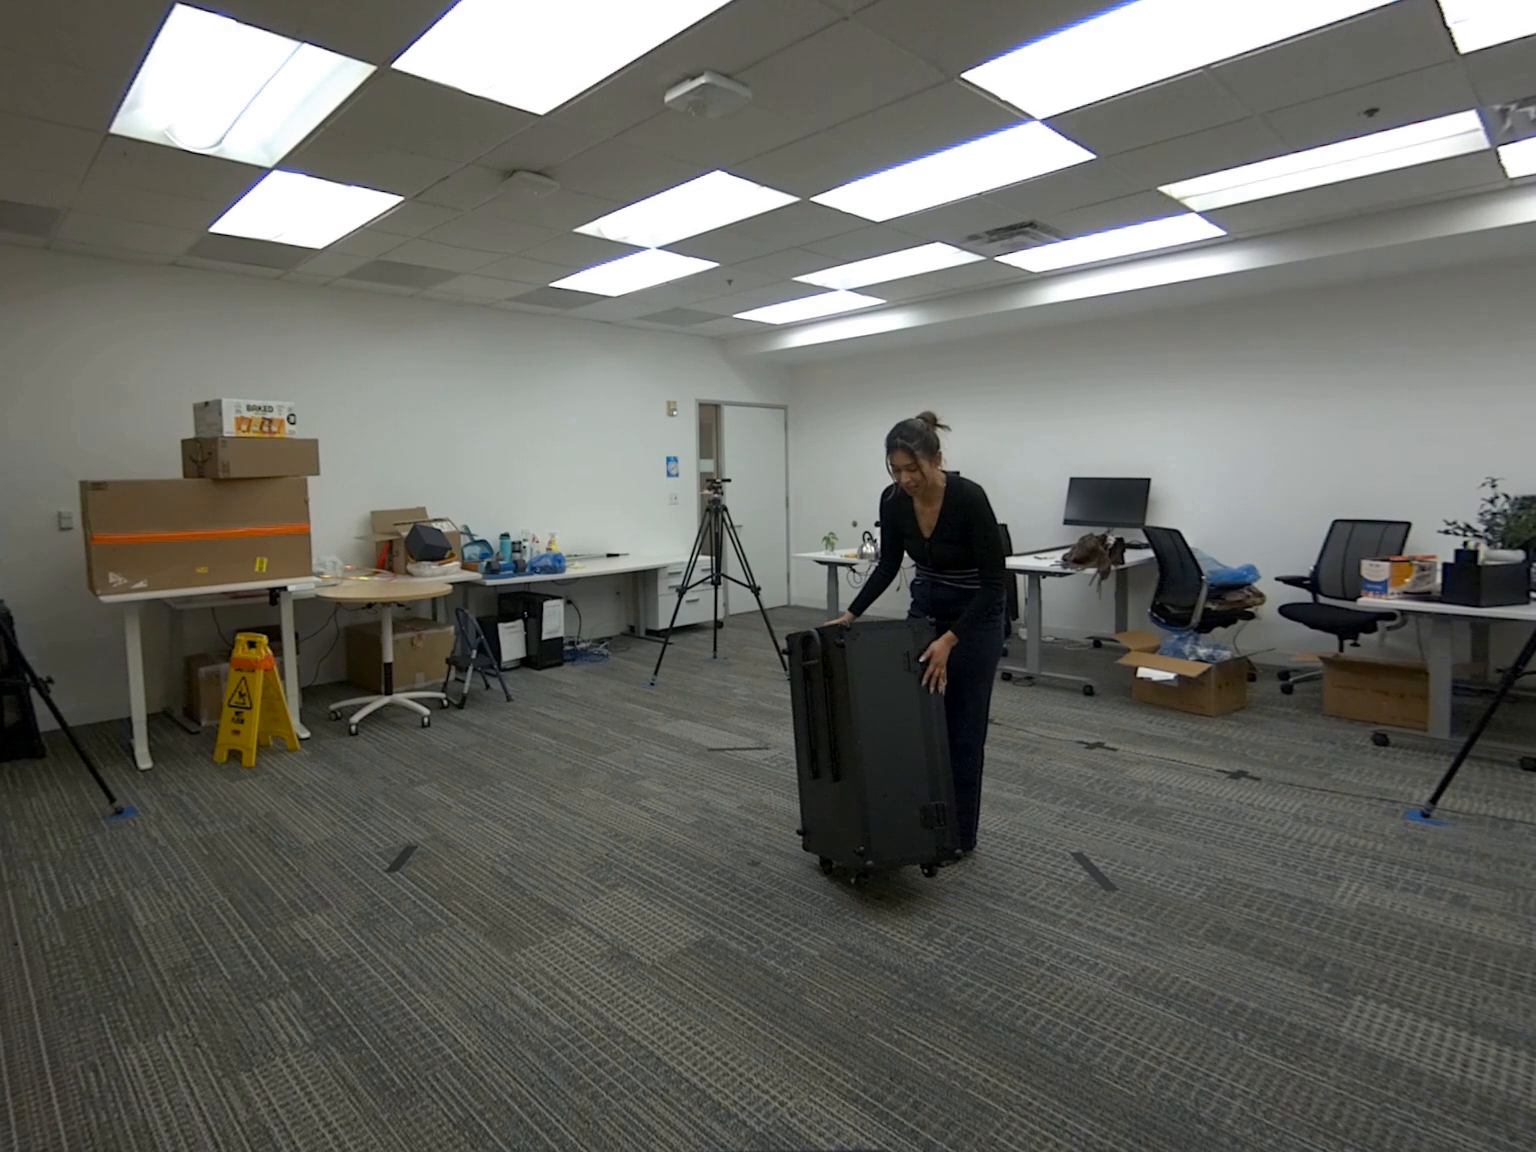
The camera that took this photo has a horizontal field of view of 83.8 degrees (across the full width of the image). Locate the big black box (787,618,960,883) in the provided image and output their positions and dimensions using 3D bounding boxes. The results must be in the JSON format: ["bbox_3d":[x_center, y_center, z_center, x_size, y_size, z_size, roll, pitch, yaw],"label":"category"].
[{"bbox_3d":[0.343,0.603,2.984,0.389,0.870,0.525,-1,-10,-21],"label":"big black box"}]
